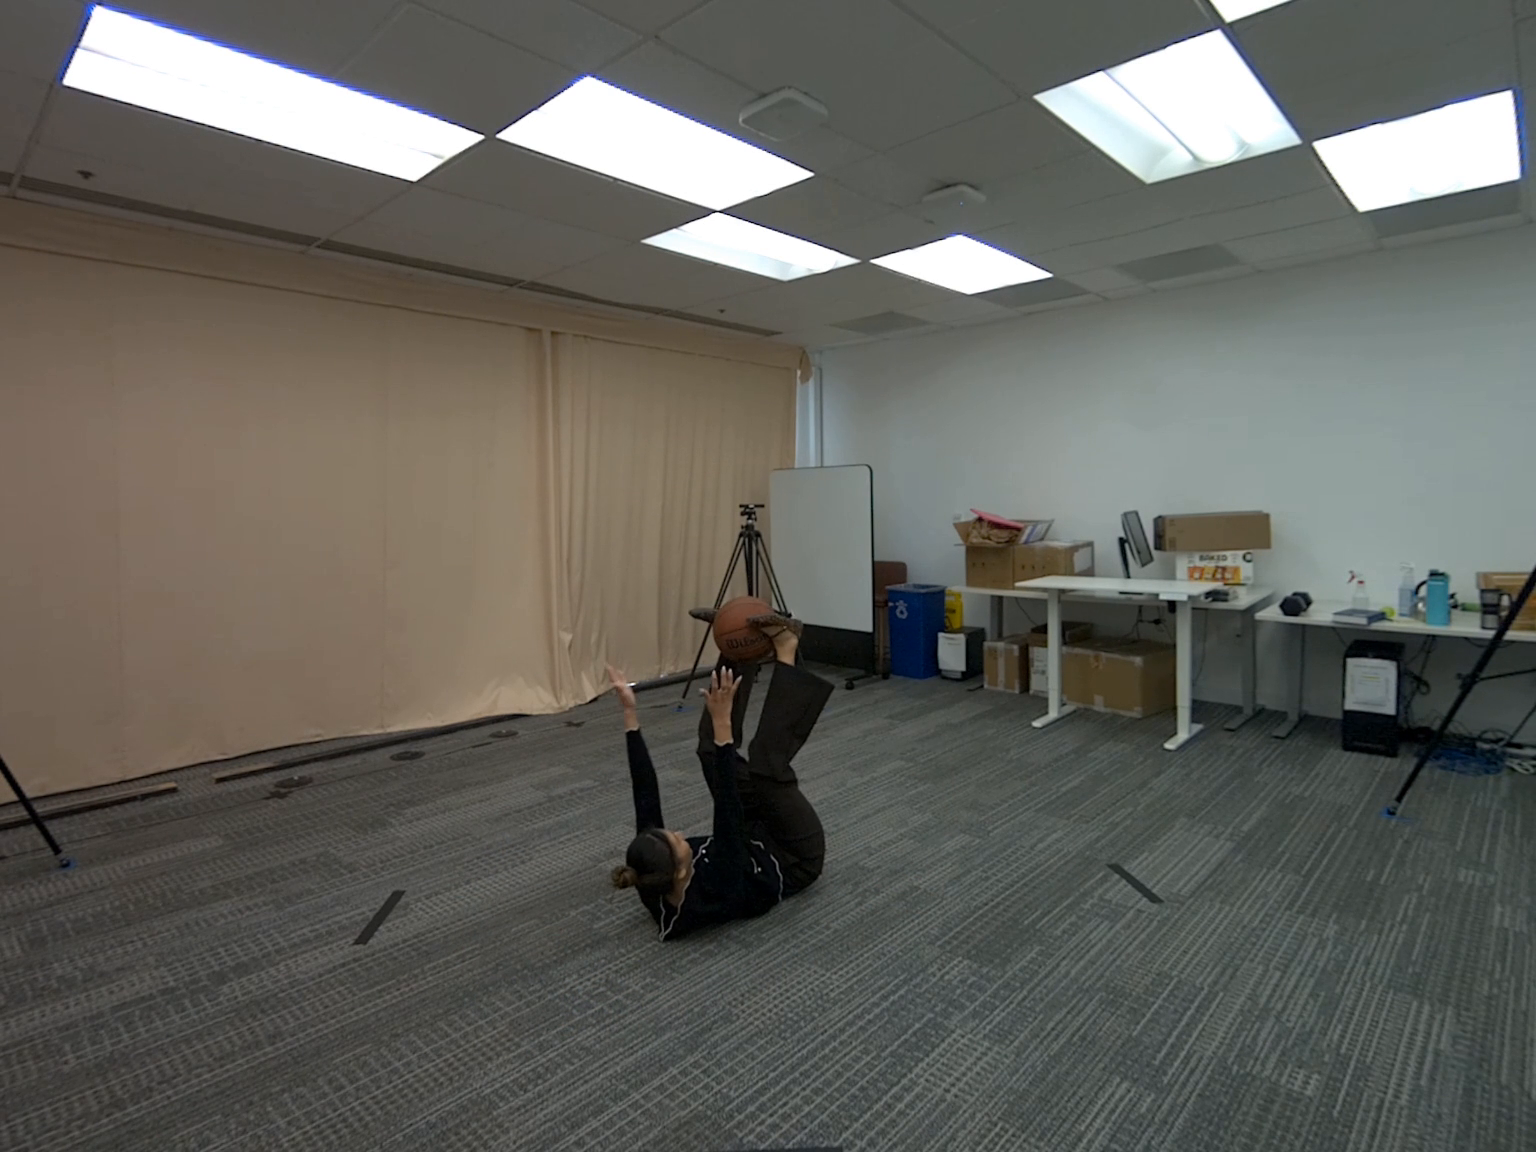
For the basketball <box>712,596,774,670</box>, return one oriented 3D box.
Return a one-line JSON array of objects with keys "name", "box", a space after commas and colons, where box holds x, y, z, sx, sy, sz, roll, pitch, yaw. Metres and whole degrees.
[{"name": "basketball", "box": [-0.077, 0.189, 2.950, 0.236, 0.235, 0.237, -1, 4, -2]}]
